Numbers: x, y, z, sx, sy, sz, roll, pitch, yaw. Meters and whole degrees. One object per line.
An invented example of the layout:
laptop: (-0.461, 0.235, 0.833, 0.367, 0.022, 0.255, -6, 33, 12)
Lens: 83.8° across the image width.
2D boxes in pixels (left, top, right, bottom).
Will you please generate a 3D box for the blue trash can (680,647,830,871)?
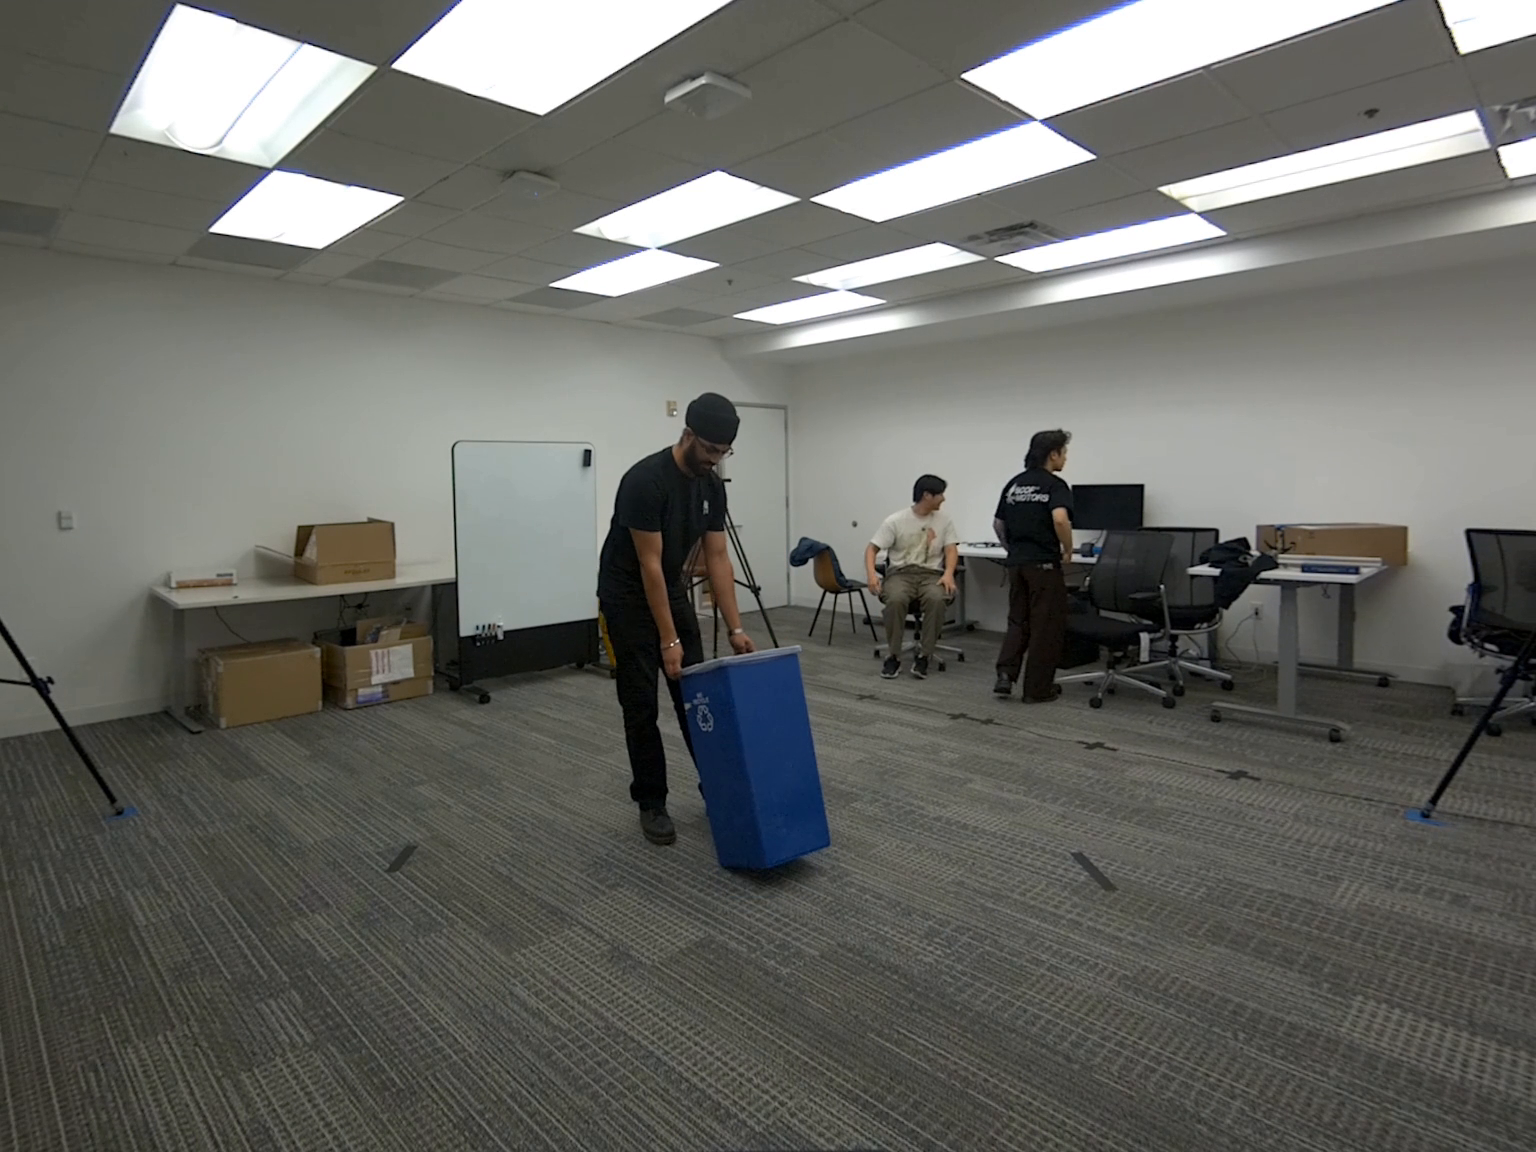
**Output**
blue trash can: (-0.056, 0.657, 3.130, 0.368, 0.722, 0.380, -3, -13, -37)
